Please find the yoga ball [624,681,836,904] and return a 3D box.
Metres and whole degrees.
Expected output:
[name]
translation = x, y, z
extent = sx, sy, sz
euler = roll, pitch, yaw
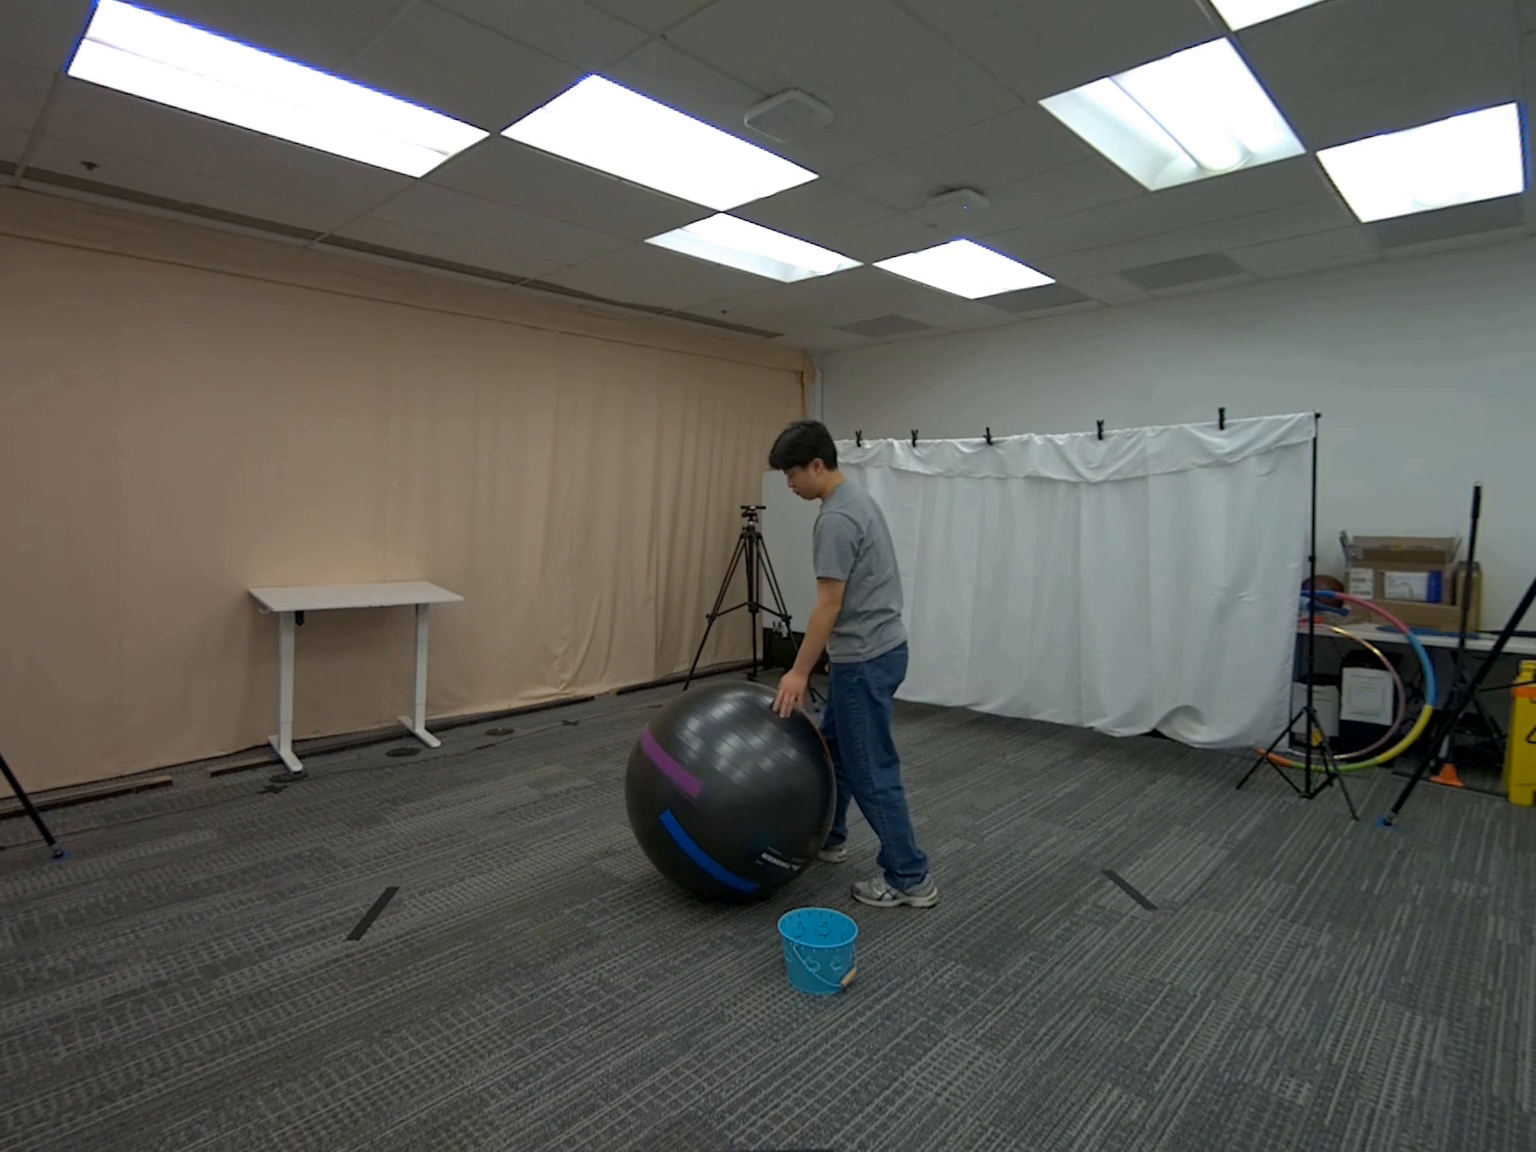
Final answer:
[yoga ball]
translation = -0.151, 0.774, 3.052
extent = 0.757, 0.756, 0.760
euler = 0, 4, -2
